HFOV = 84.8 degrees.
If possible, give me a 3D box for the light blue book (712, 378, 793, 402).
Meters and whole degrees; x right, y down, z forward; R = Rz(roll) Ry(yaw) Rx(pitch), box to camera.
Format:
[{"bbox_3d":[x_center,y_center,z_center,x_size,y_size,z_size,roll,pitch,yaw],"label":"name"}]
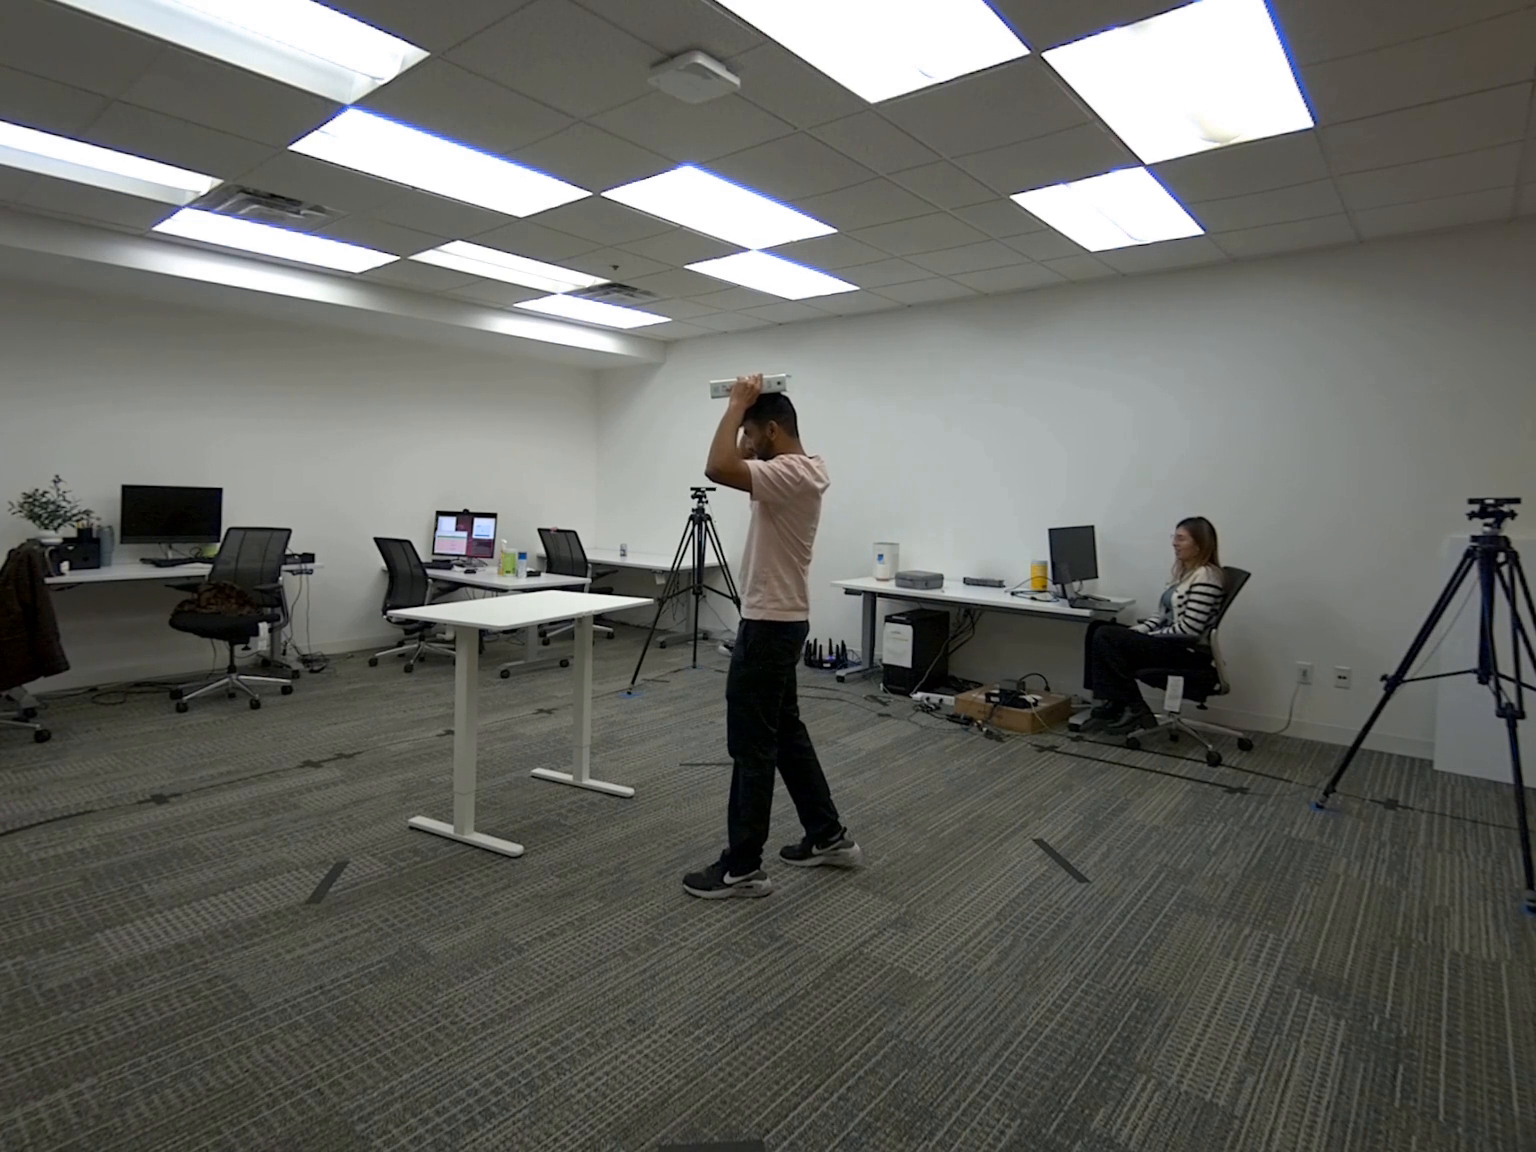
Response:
[{"bbox_3d":[-0.052,-0.654,2.947,0.263,0.058,0.192,-3,12,8],"label":"light blue book"}]
